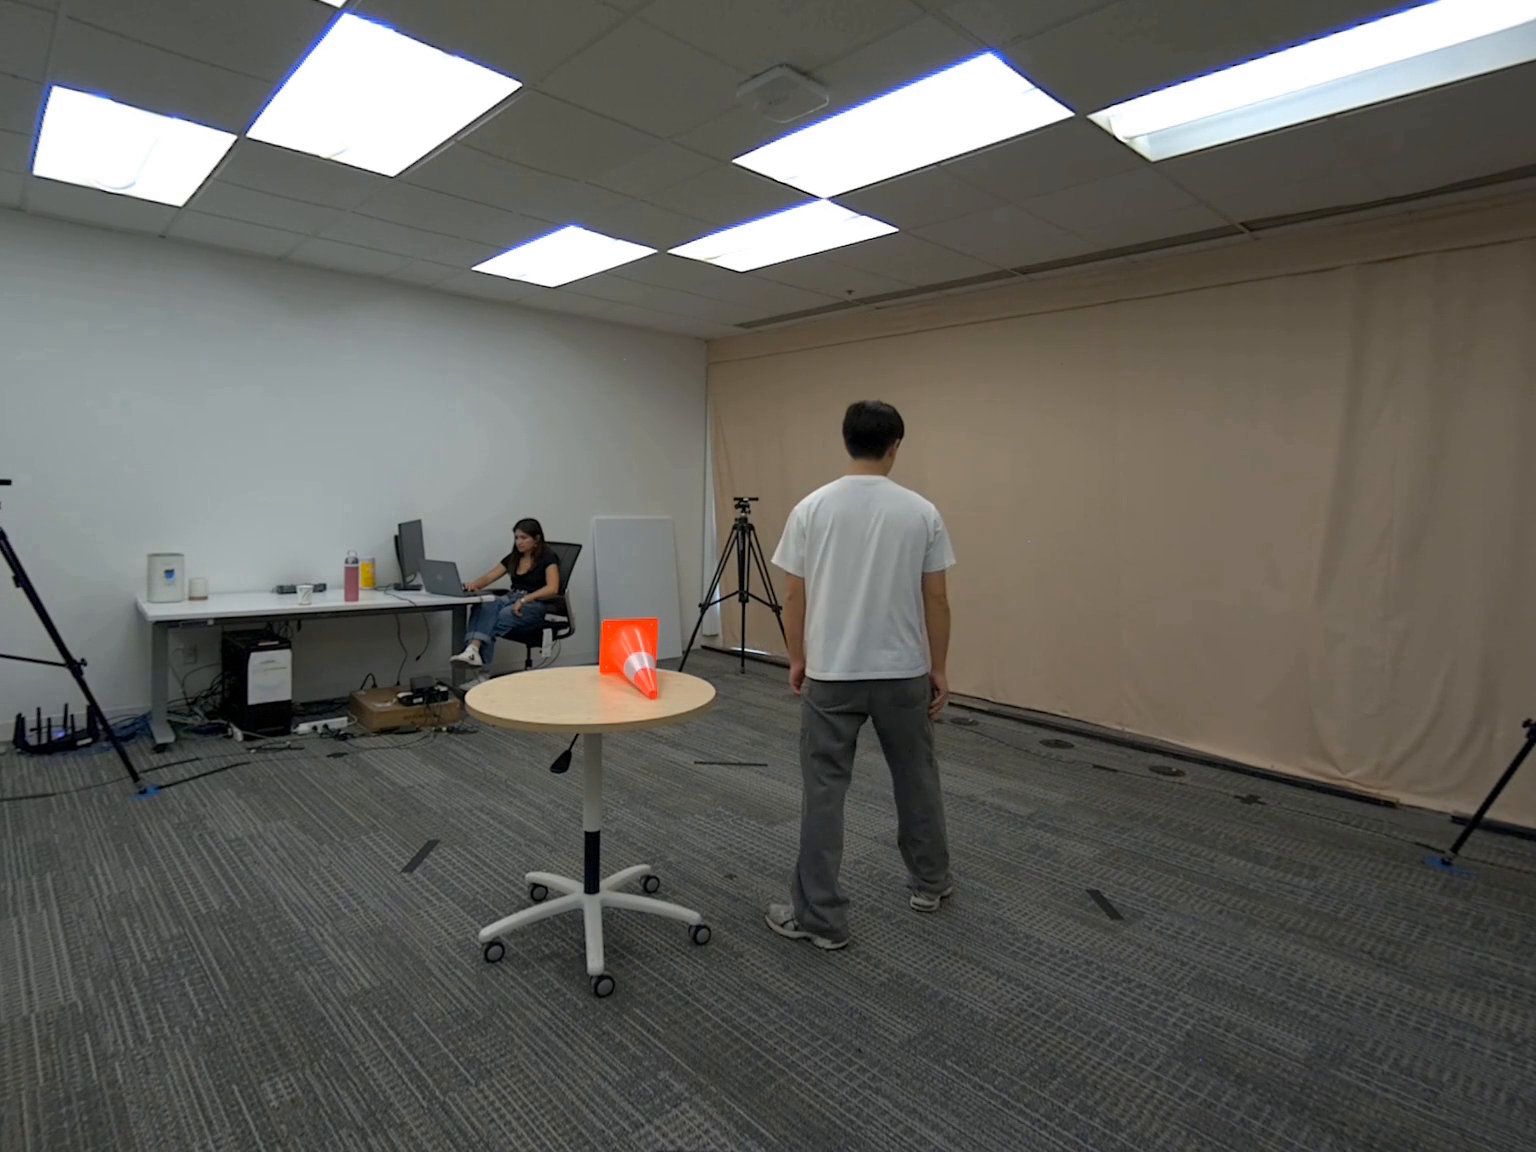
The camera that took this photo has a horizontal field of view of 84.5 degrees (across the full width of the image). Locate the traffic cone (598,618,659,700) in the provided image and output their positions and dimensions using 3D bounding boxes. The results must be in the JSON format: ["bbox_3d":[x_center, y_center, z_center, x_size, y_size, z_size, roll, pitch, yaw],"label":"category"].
[{"bbox_3d":[-0.412,0.299,2.699,0.200,0.203,0.393,-2,18,-20],"label":"traffic cone"}]
